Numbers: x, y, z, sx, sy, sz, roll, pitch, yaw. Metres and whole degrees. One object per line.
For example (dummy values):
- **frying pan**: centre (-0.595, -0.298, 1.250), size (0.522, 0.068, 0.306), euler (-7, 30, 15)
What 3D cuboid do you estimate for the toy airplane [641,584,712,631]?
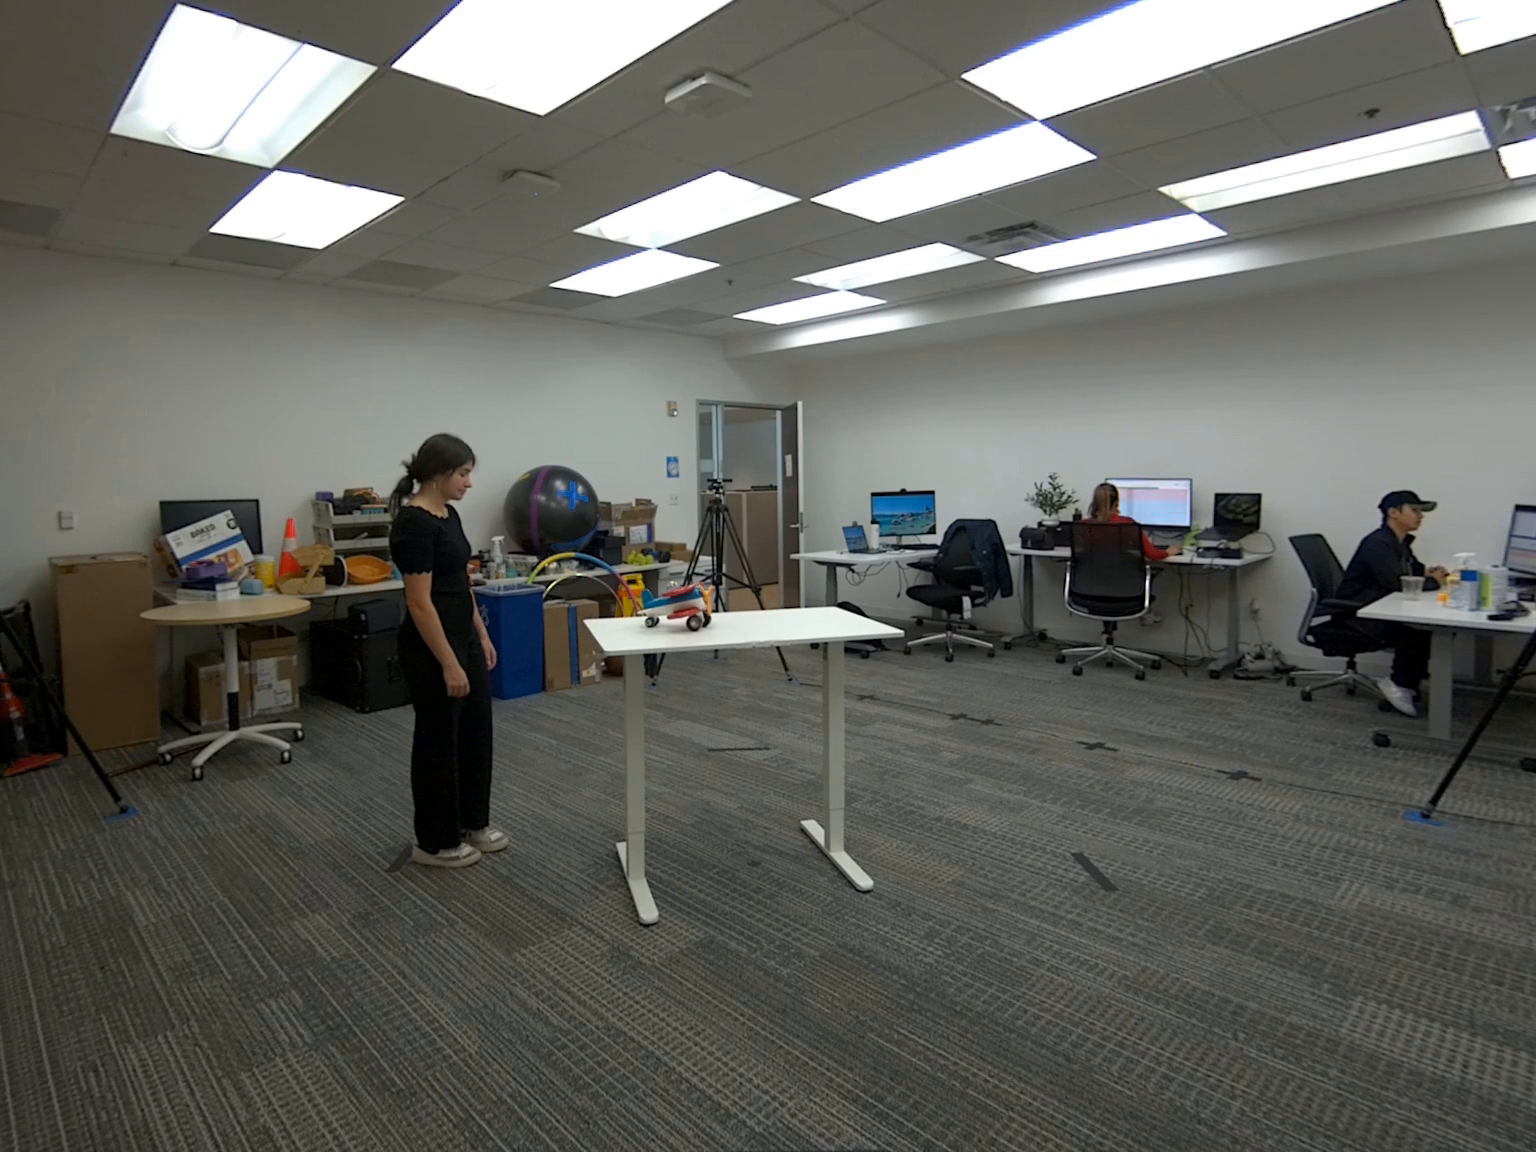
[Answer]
- **toy airplane**: centre (-0.325, 0.106, 2.949), size (0.256, 0.156, 0.254), euler (-1, 4, -11)
